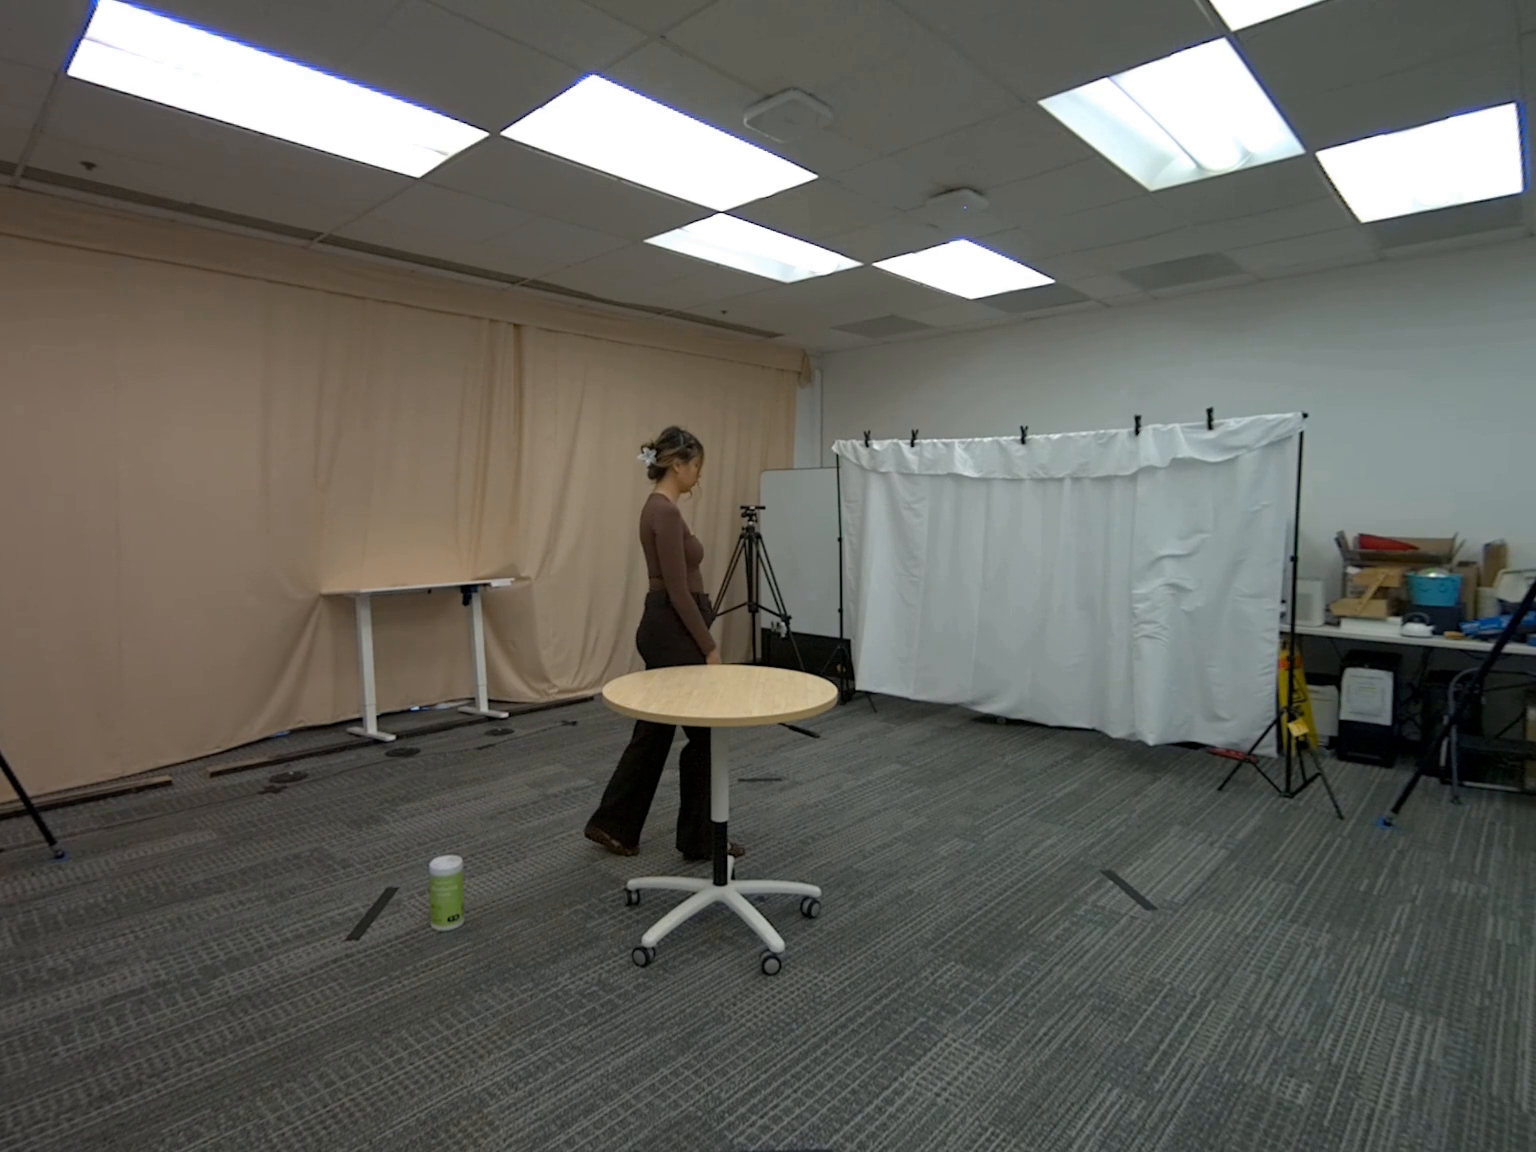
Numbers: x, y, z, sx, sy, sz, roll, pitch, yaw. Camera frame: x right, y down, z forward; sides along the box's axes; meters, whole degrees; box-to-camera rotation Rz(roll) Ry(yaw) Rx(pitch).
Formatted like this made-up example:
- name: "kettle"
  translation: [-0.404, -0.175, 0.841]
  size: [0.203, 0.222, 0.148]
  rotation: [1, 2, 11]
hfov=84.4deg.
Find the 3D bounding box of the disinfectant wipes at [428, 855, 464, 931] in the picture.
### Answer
- name: "disinfectant wipes"
  translation: [-1.073, 1.053, 2.818]
  size: [0.118, 0.217, 0.118]
  rotation: [0, 5, -2]
